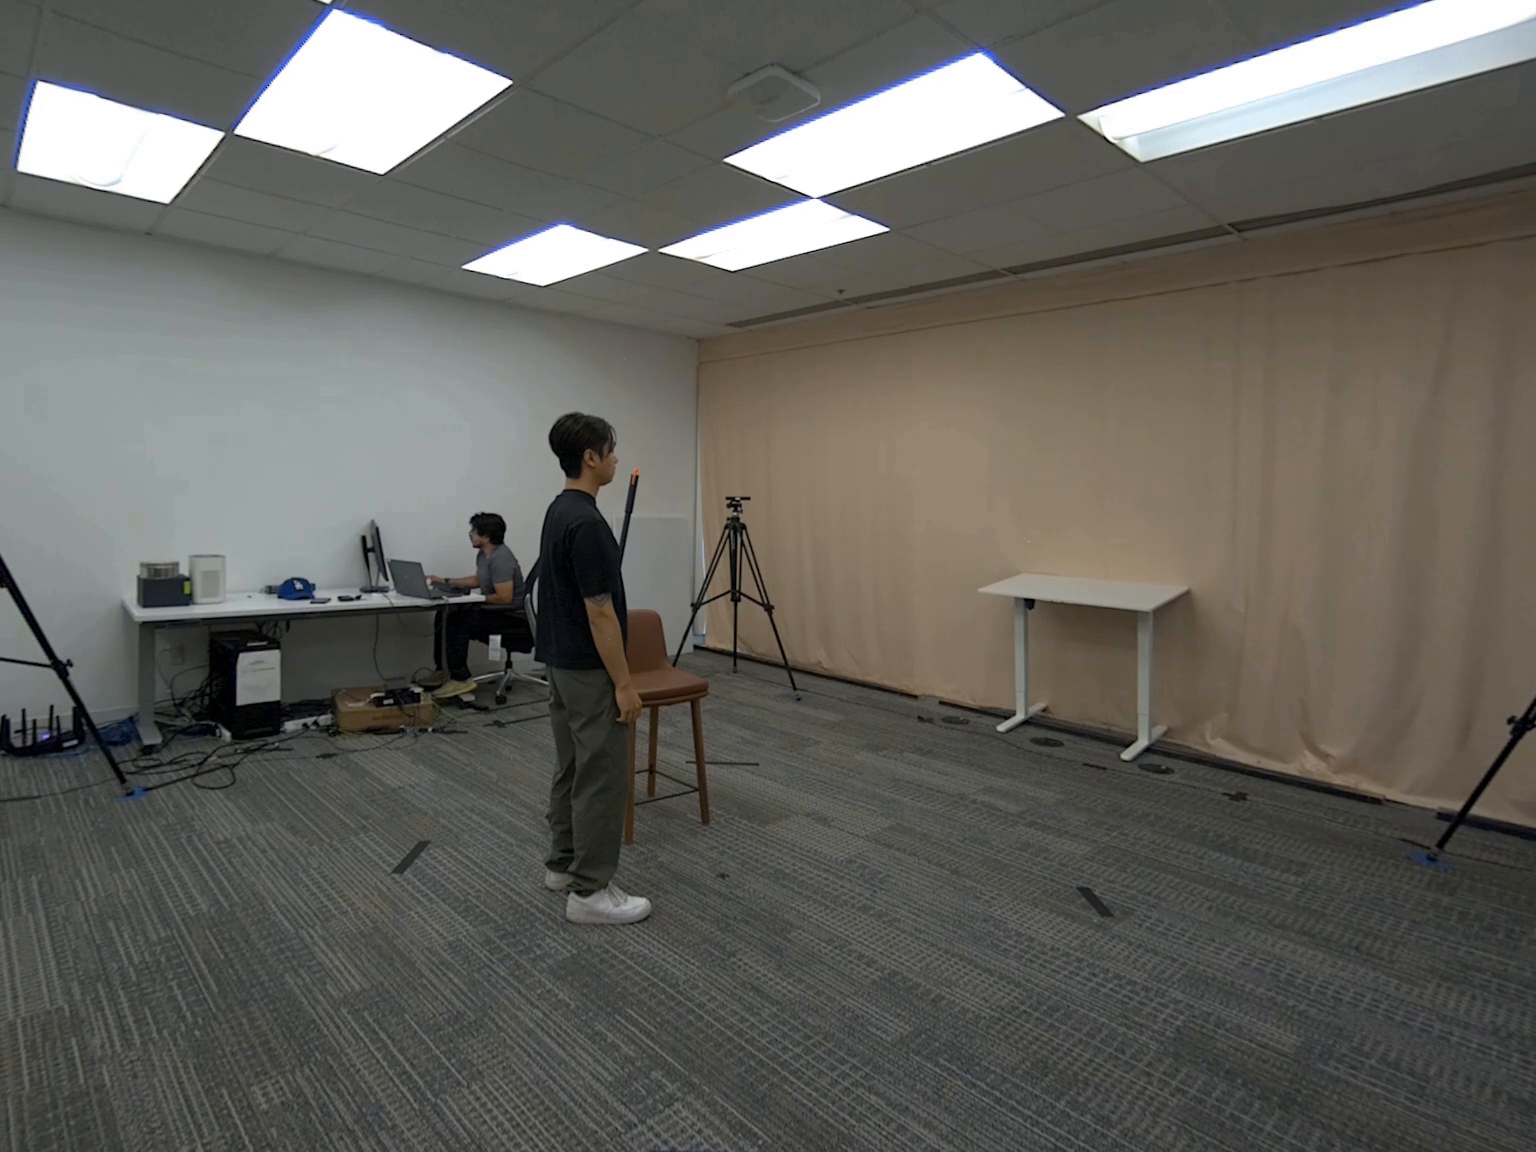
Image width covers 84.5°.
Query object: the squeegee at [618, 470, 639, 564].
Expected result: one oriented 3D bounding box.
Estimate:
[{"bbox_3d":[-0.679,0.298,3.481,0.052,1.541,0.445,9,-4,-27],"label":"squeegee"}]
